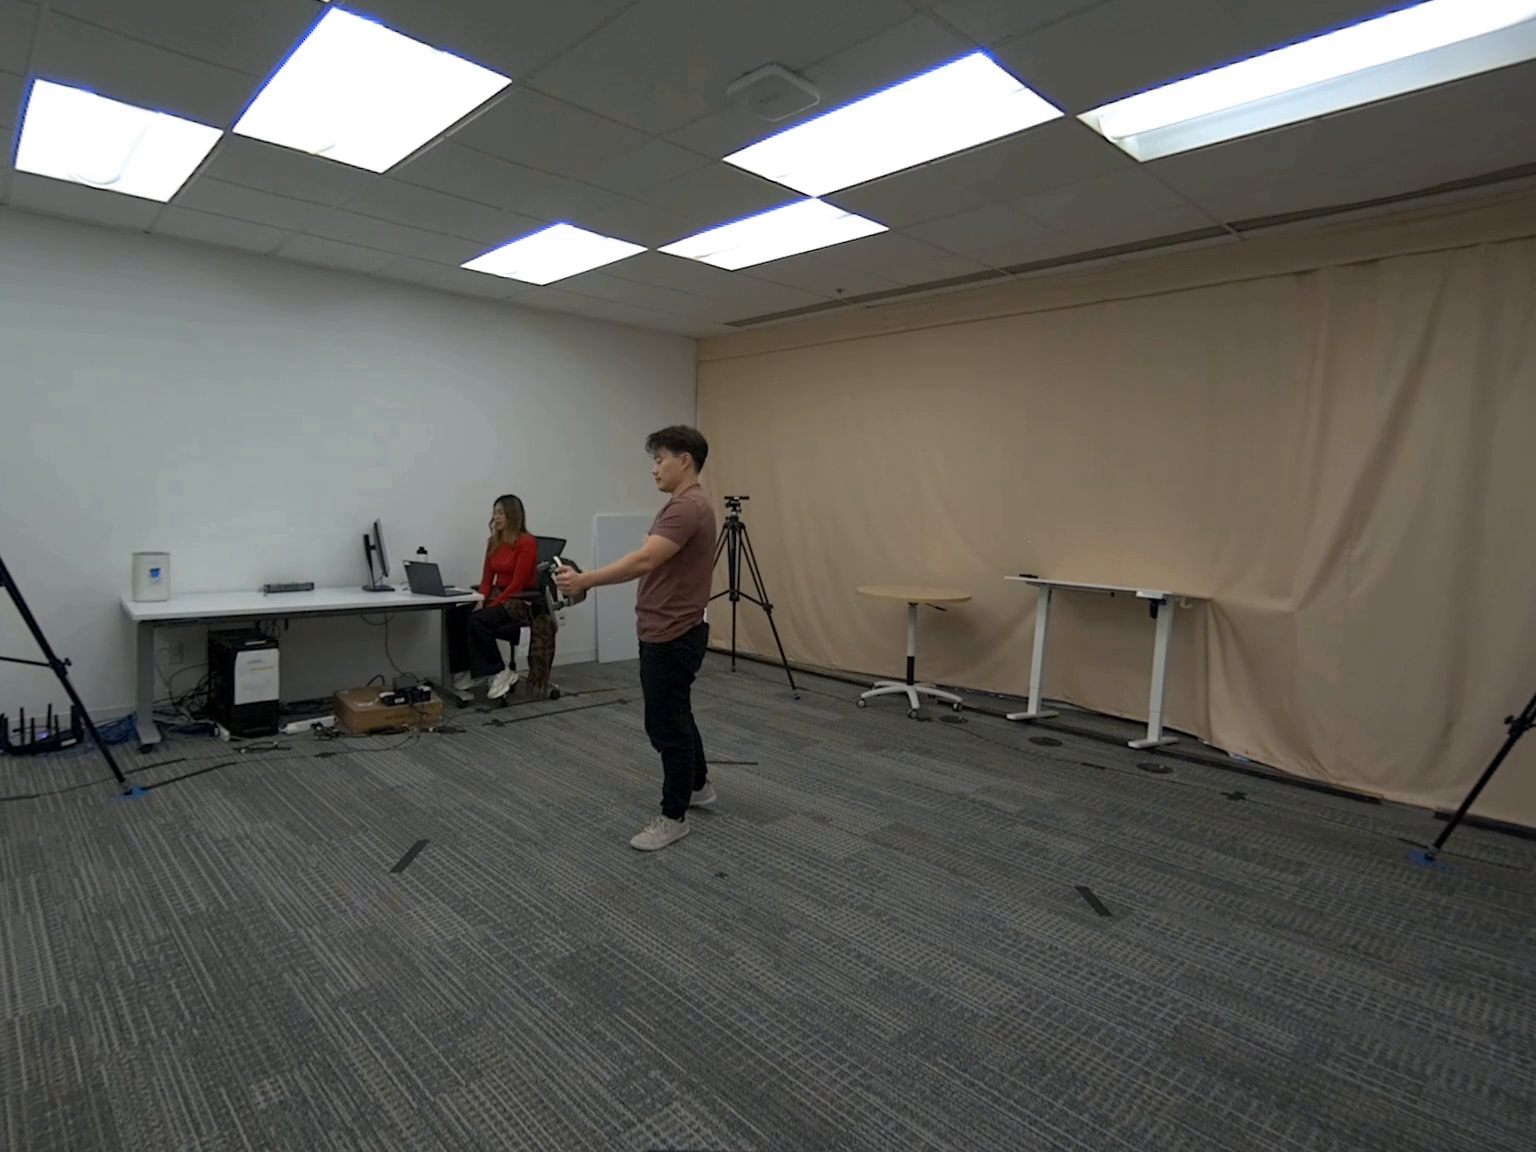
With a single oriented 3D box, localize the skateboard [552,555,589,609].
[{"bbox_3d":[-0.823,0.034,3.357,0.110,0.193,0.790,-20,3,-8],"label":"skateboard"}]
